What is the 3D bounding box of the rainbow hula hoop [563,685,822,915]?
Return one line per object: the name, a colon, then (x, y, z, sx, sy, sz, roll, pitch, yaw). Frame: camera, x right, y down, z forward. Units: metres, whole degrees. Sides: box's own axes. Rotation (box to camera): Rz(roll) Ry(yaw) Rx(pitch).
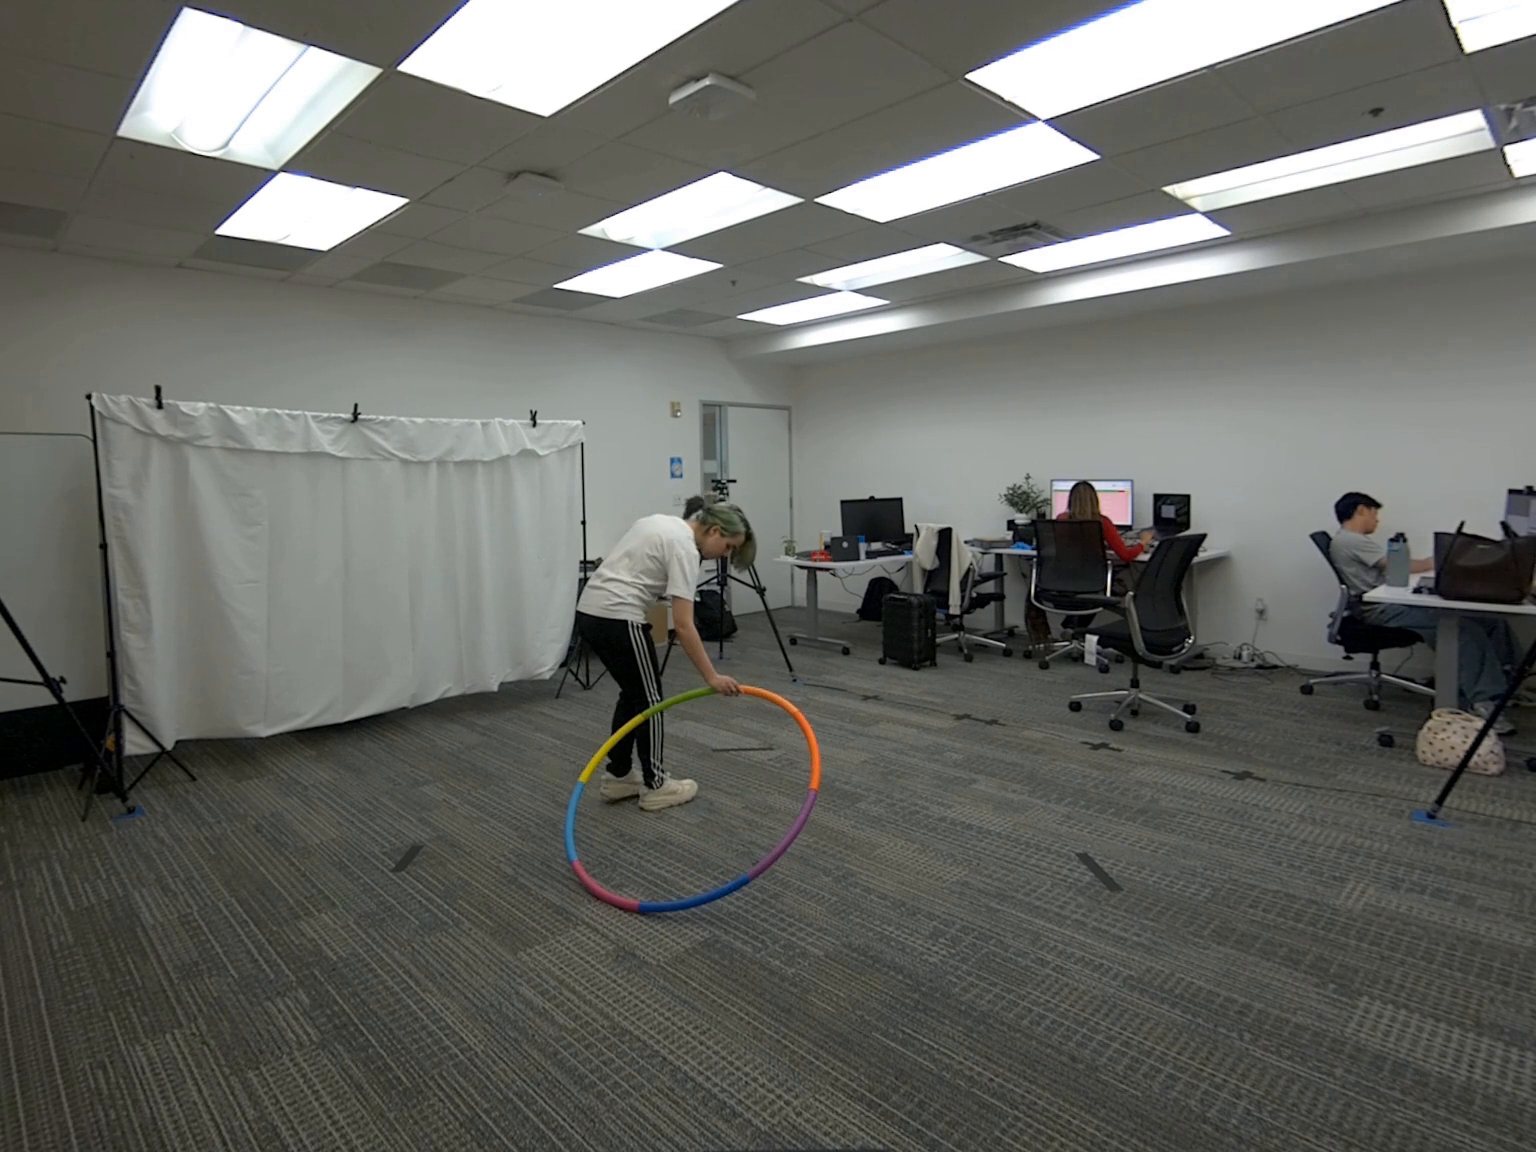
rainbow hula hoop: (-0.287, 0.768, 3.115, 0.985, 0.034, 1.004, -17, 34, 10)
